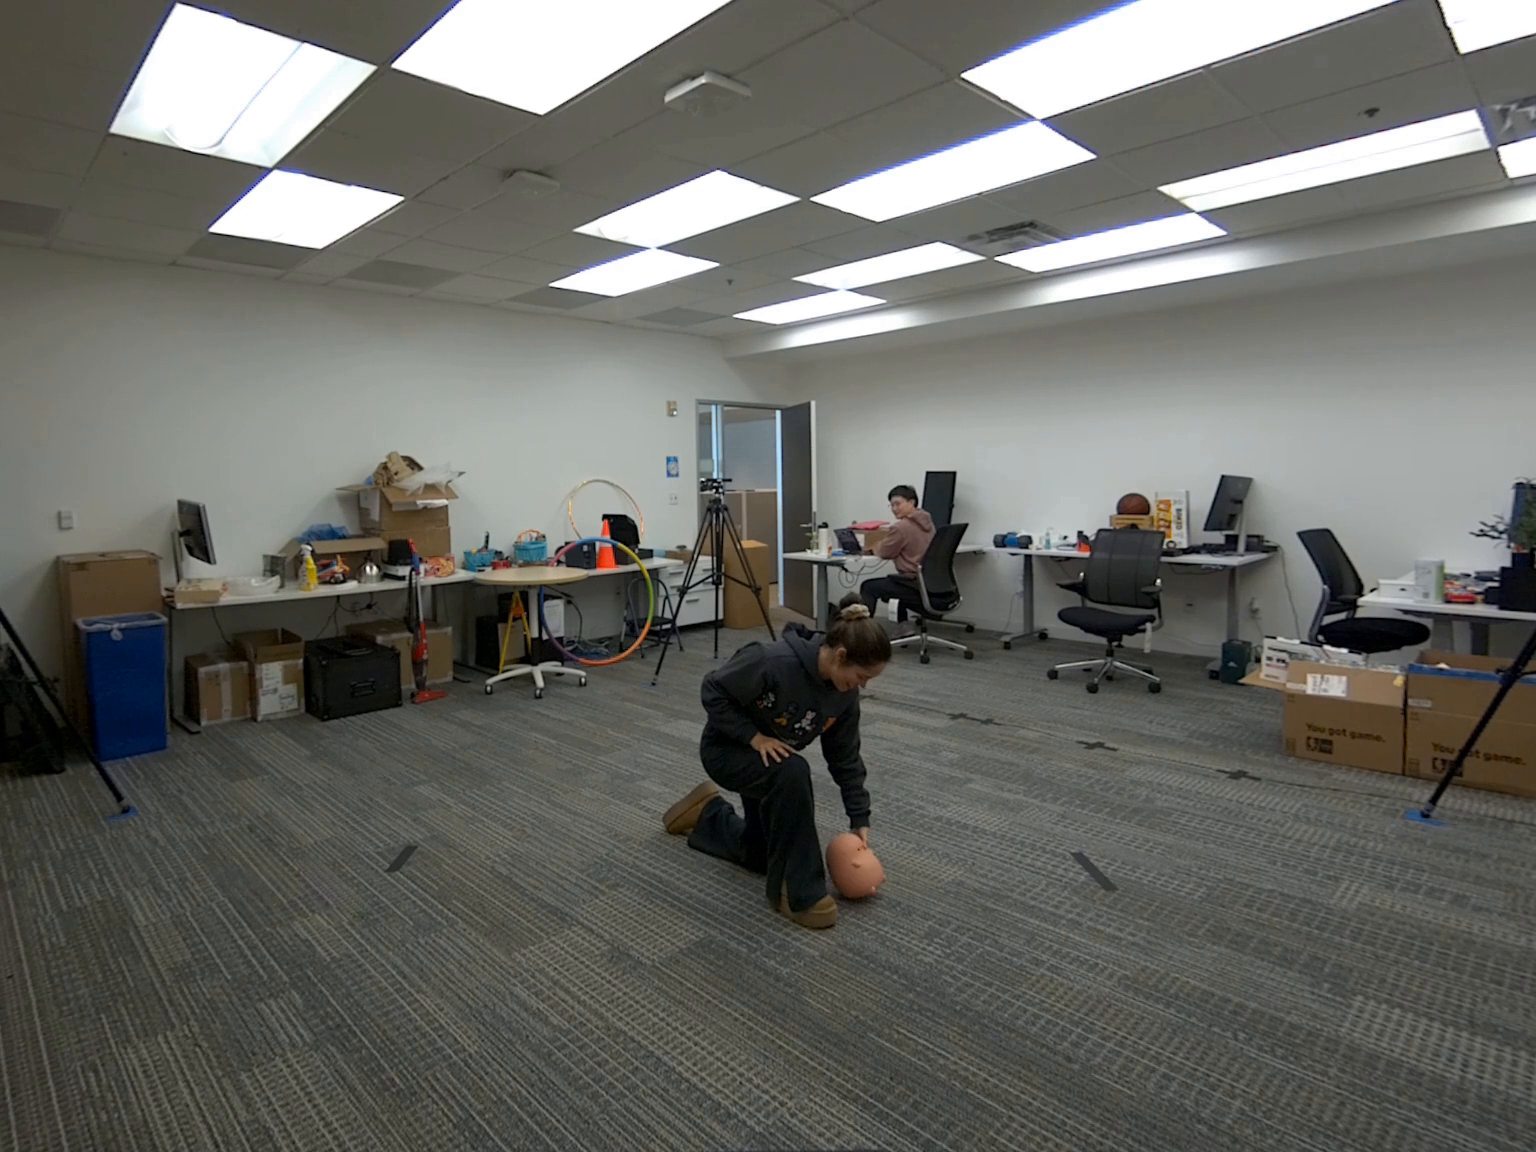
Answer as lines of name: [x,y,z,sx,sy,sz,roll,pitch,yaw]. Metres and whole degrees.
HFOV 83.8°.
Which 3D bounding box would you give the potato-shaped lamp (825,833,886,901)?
potato-shaped lamp: [0.288,0.948,2.837,0.173,0.200,0.161,-26,-10,24]
